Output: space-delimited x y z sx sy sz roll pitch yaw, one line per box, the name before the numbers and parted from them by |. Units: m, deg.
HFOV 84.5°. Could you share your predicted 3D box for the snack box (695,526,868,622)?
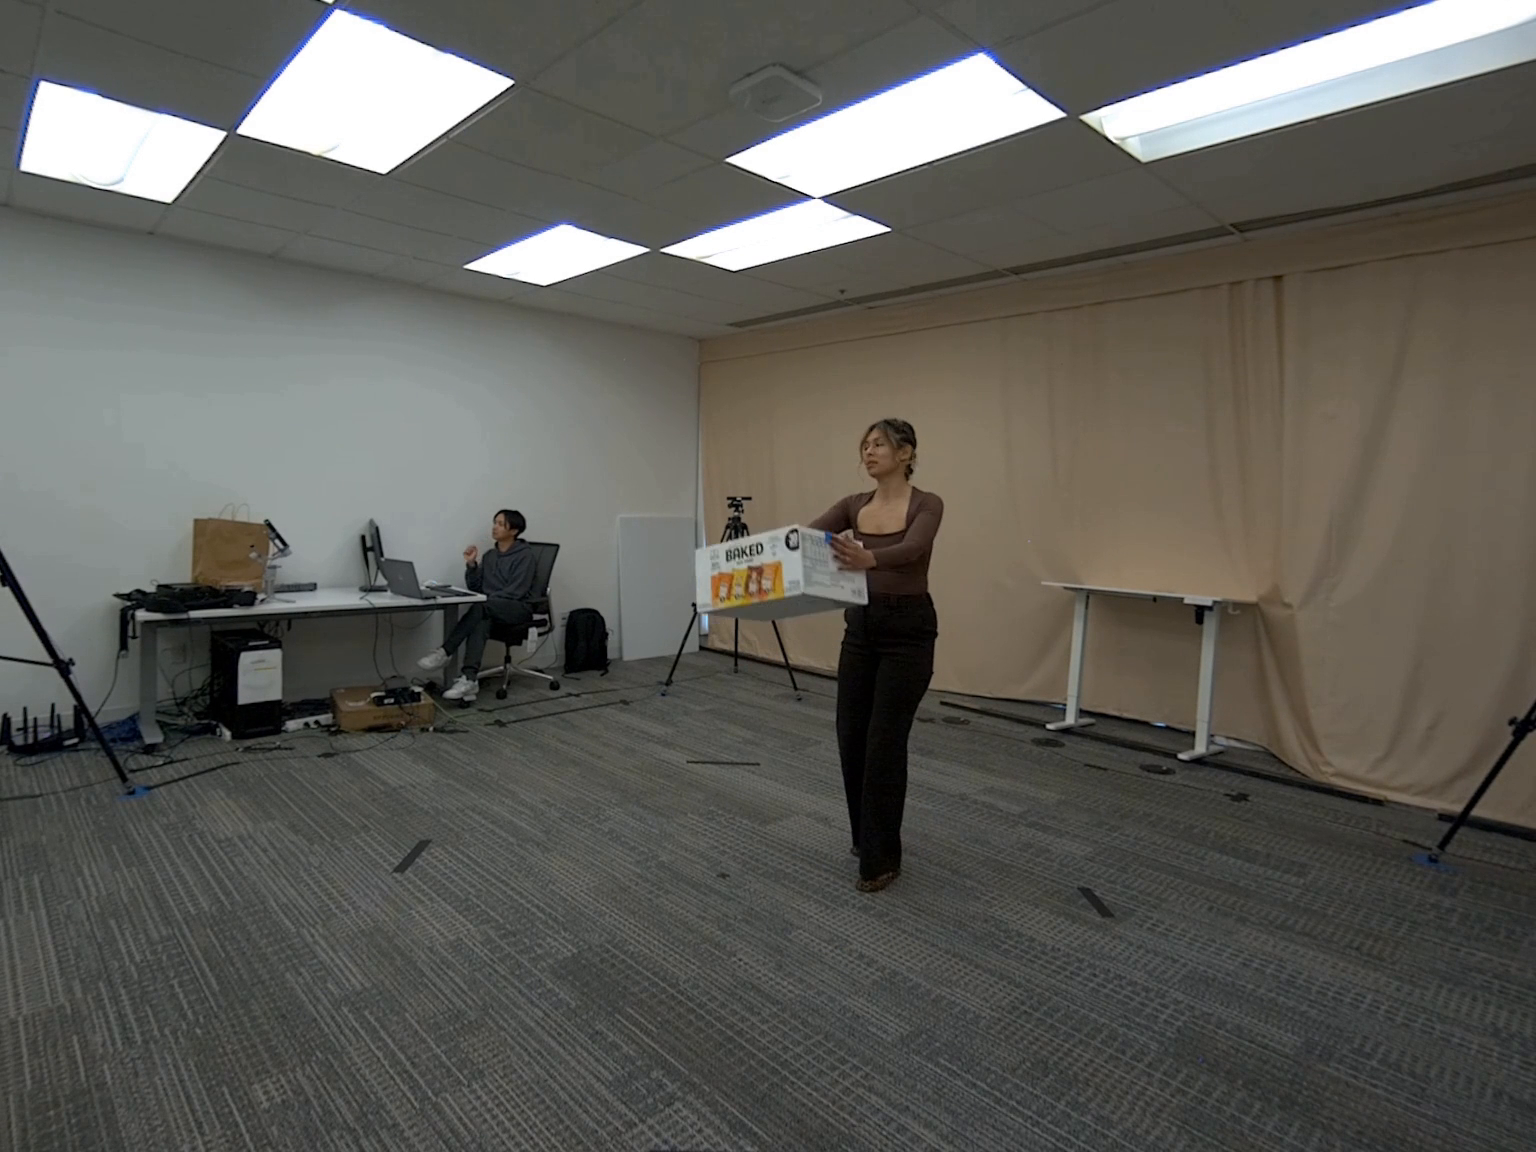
snack box | 0.034 0.015 2.624 0.412 0.208 0.331 -11 -15 38
